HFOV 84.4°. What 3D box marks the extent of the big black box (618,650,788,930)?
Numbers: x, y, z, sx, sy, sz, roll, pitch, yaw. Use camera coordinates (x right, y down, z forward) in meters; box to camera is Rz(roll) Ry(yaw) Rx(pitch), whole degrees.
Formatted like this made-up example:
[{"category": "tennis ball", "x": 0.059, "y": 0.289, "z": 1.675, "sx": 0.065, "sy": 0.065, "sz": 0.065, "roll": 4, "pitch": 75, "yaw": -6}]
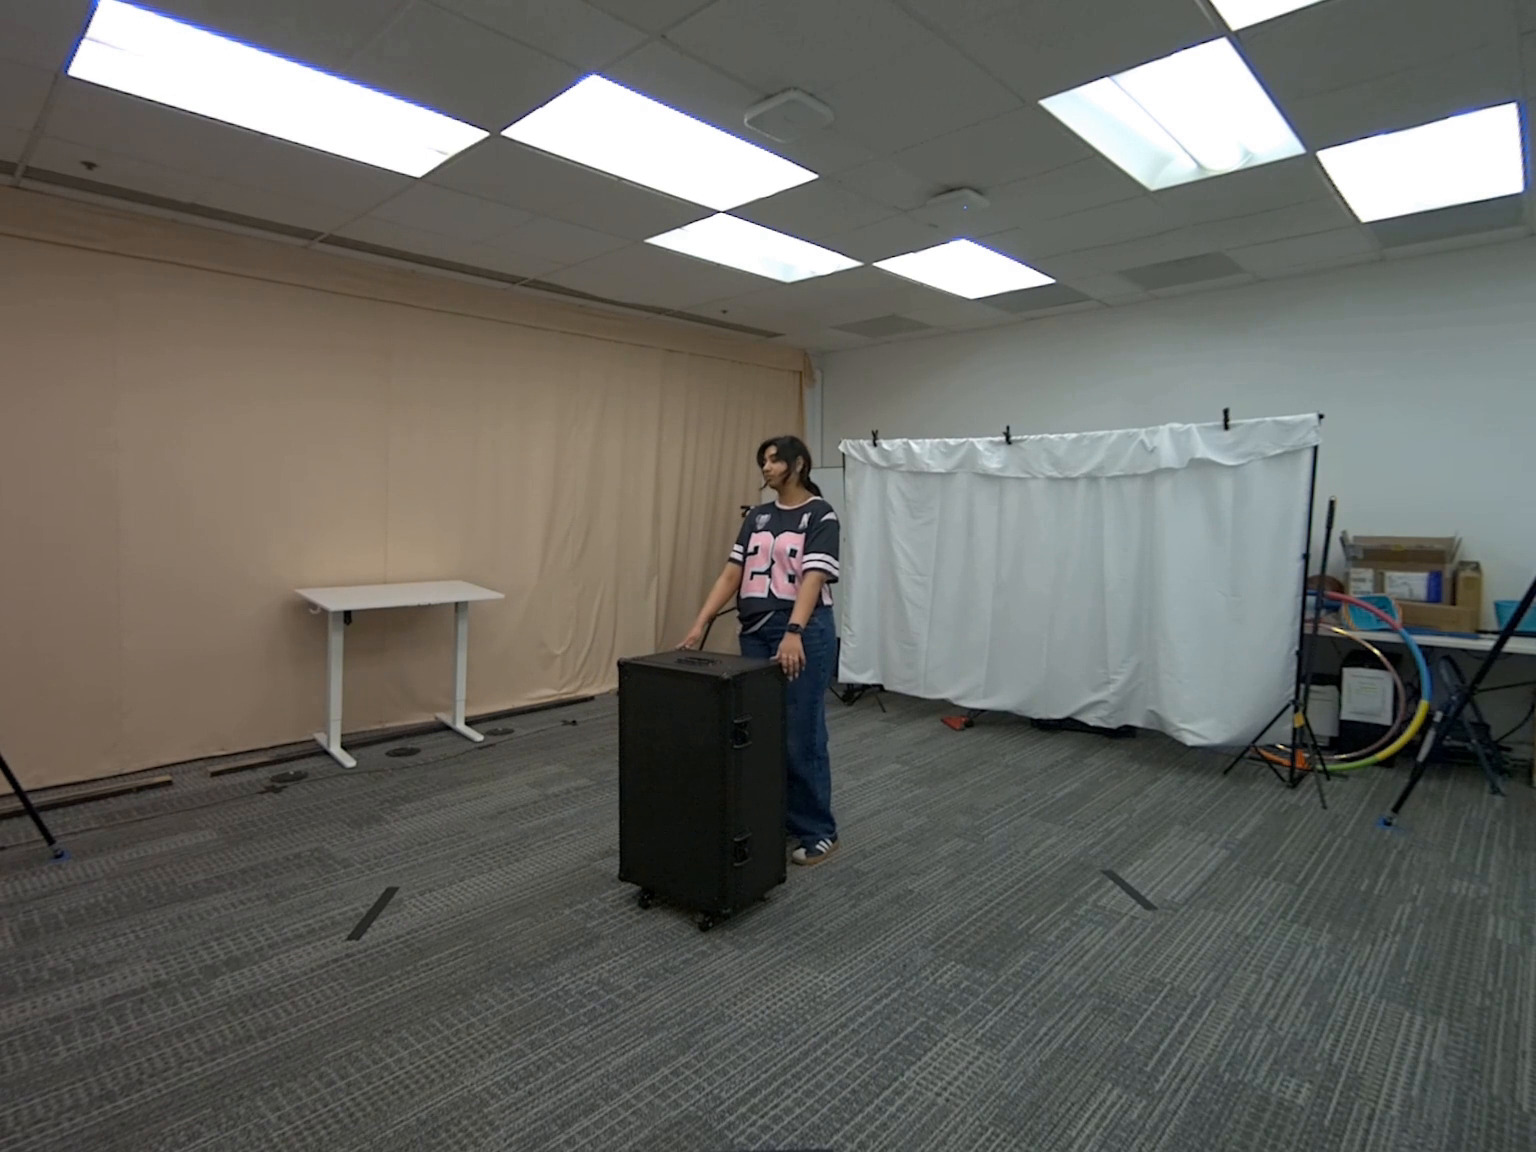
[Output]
[{"category": "big black box", "x": -0.236, "y": 0.725, "z": 2.966, "sx": 0.540, "sy": 0.867, "sz": 0.374, "roll": 3, "pitch": 3, "yaw": 35}]
